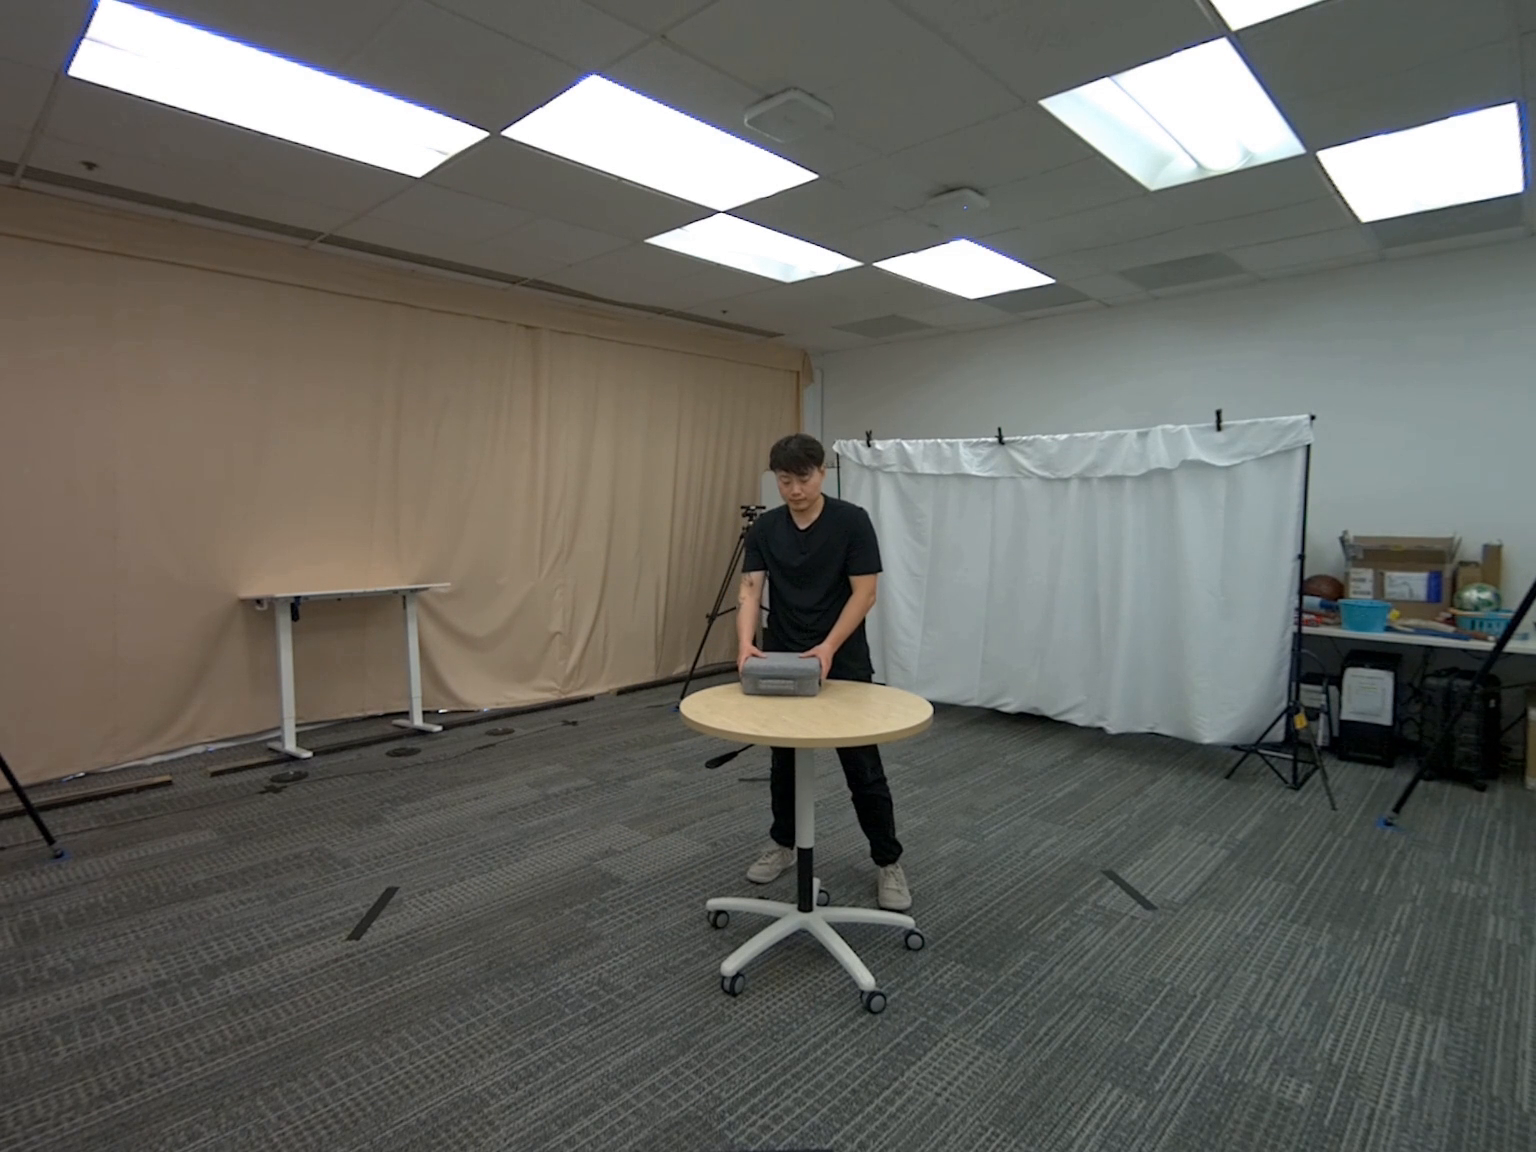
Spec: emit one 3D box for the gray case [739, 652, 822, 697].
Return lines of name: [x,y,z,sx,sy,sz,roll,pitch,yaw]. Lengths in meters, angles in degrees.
gray case: [0.060,0.326,2.799,0.260,0.104,0.258,2,5,10]
